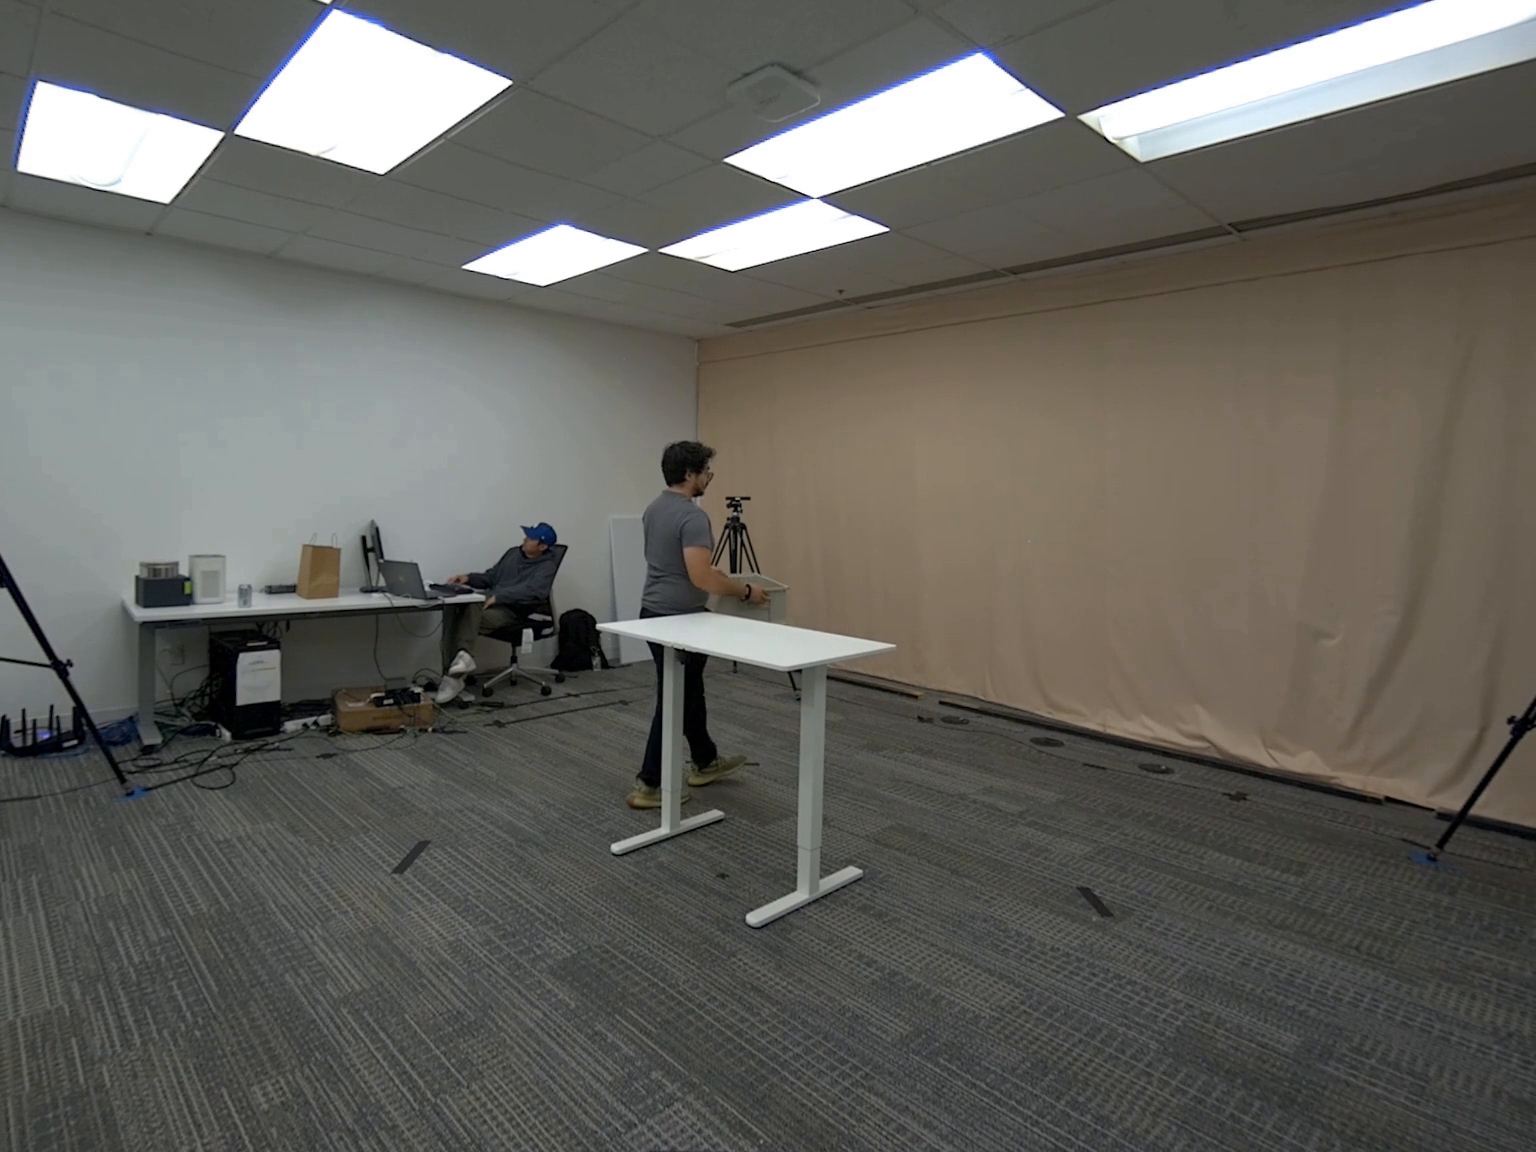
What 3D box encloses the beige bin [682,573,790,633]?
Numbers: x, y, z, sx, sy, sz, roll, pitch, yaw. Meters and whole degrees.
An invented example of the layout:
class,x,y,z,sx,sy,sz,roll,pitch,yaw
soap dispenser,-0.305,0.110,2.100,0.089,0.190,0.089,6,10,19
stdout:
class,x,y,z,sx,sy,sz,roll,pitch,yaw
beige bin,-0.162,0.118,4.019,0.371,0.188,0.431,-2,8,-22
